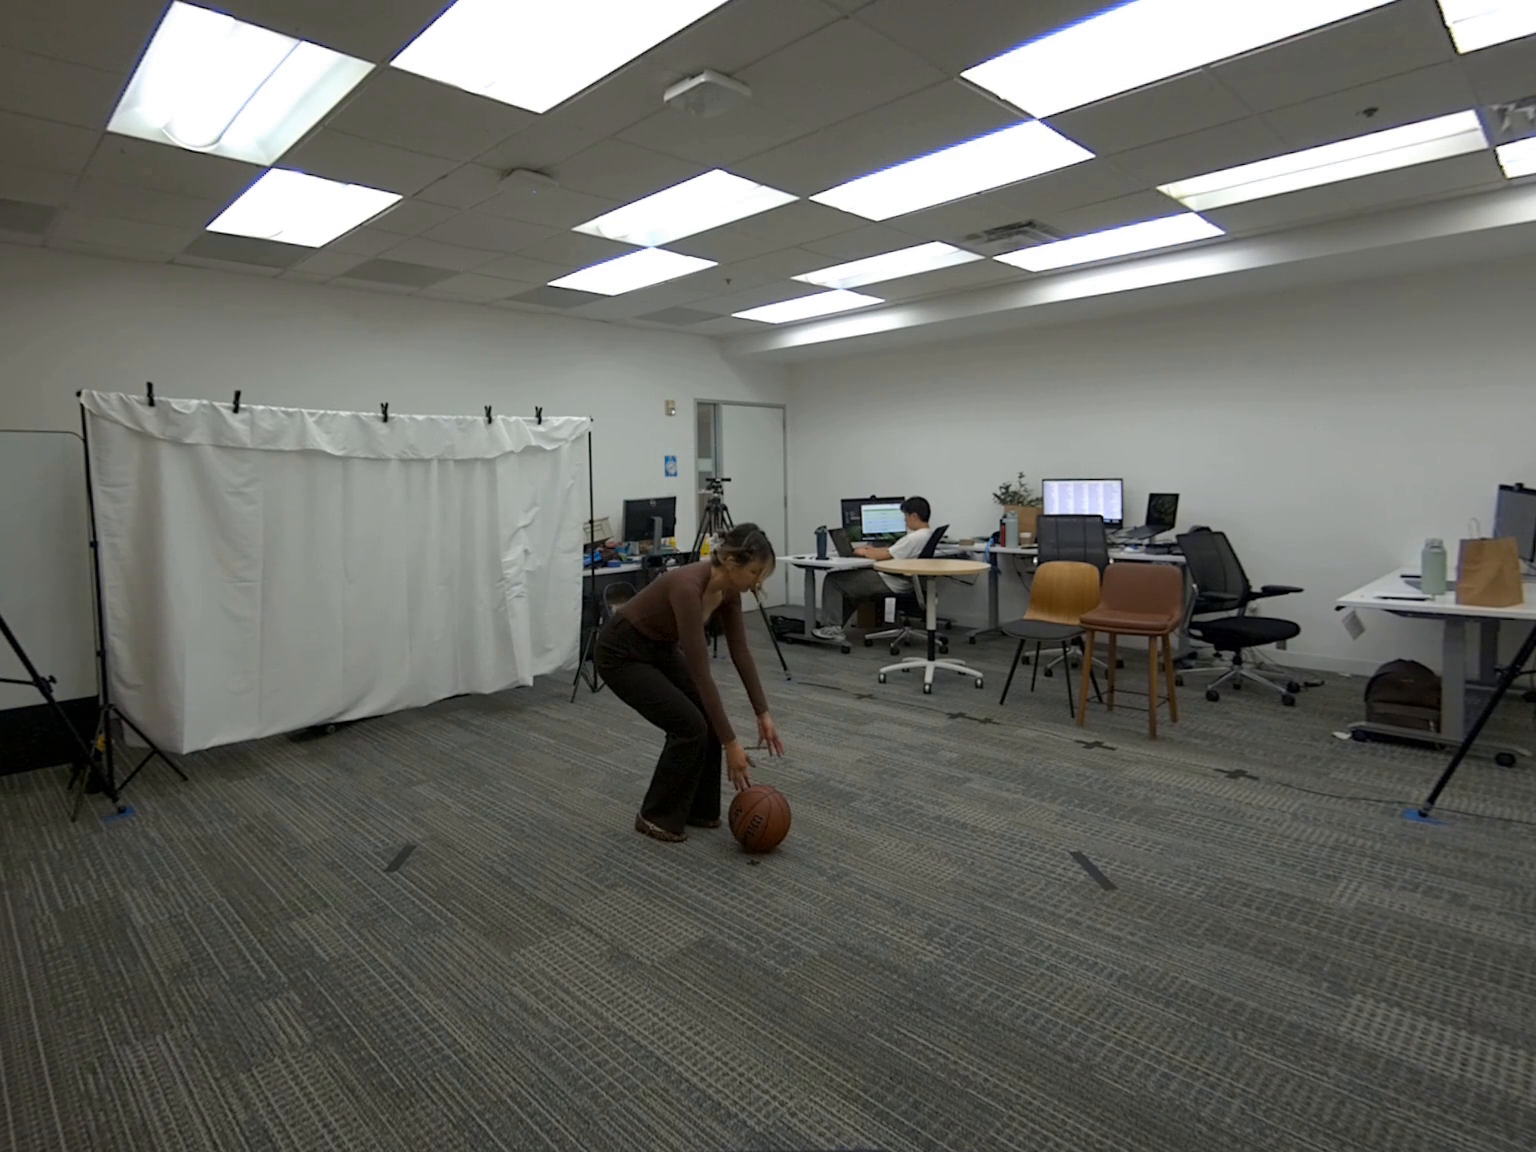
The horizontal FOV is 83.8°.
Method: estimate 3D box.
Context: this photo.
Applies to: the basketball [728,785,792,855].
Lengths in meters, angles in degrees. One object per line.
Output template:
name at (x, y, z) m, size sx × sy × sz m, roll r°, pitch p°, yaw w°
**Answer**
basketball at (-0.028, 0.906, 3.221) m, size 0.236 × 0.235 × 0.237 m, roll -1°, pitch 5°, yaw -2°
